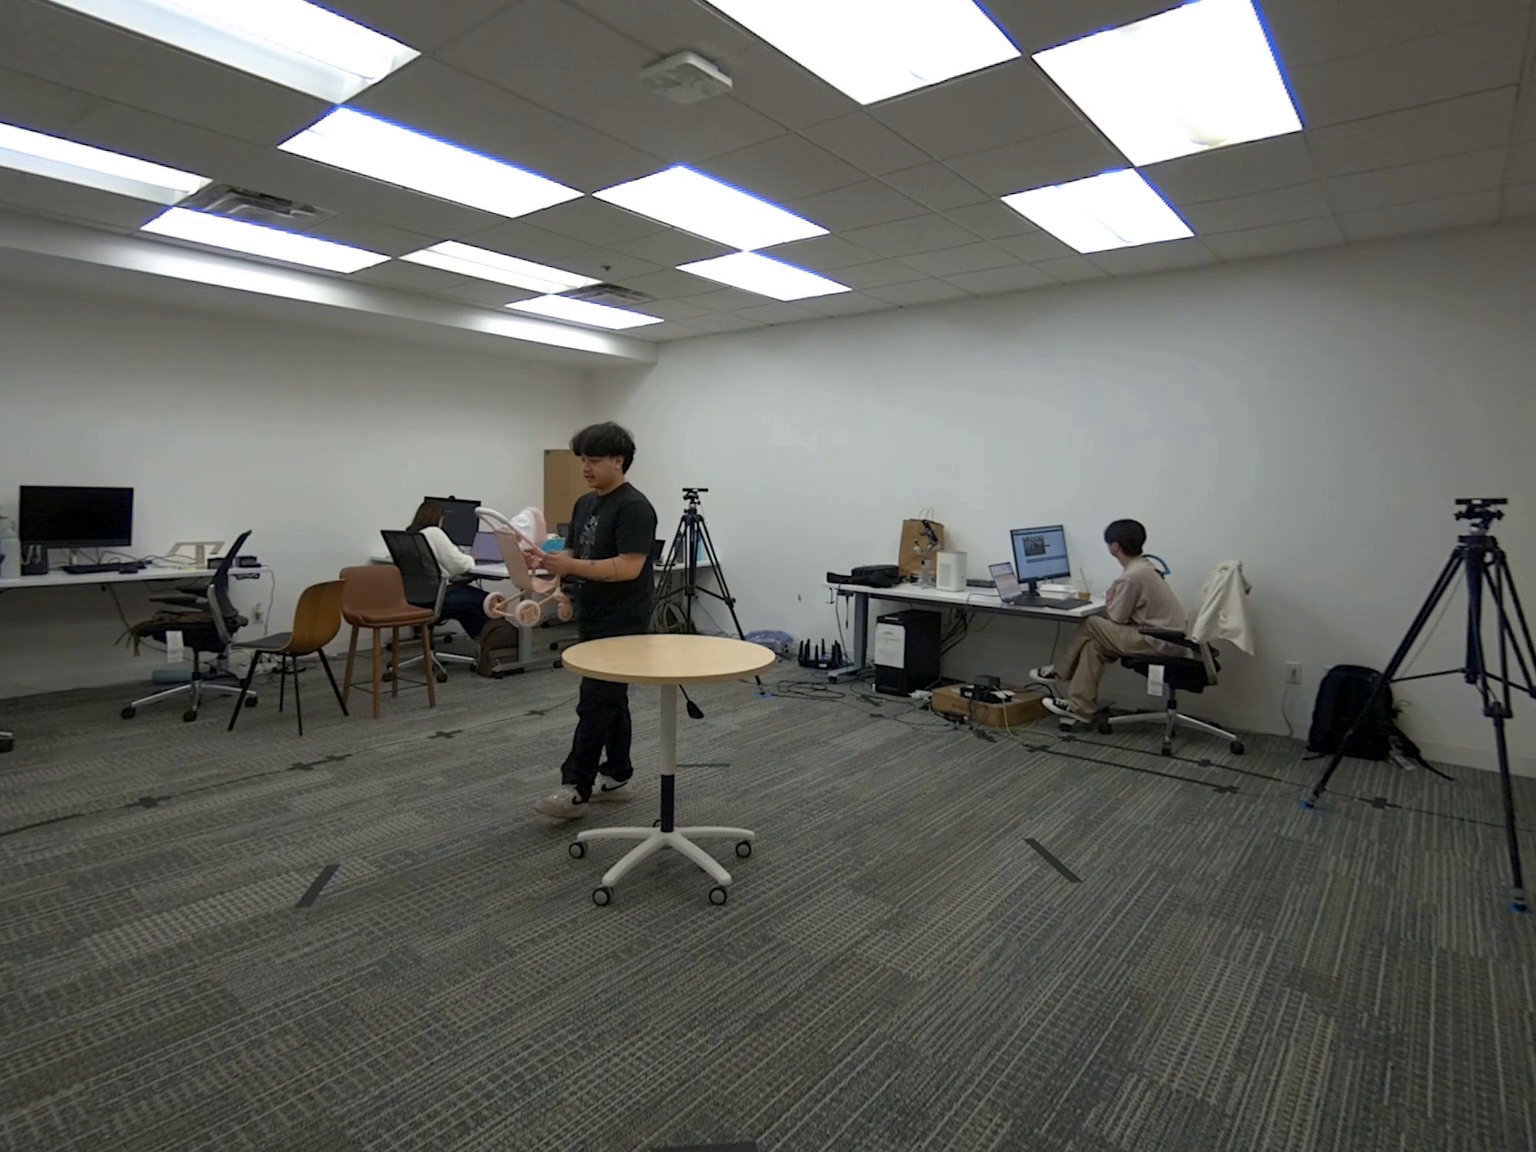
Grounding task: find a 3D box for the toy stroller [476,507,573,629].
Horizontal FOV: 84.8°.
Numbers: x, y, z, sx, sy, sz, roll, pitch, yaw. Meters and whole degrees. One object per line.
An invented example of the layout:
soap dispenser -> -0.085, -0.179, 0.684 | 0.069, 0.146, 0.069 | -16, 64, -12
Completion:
toy stroller -> -0.980, -0.040, 3.456 | 0.333, 0.529, 0.291 | -14, 13, -38
